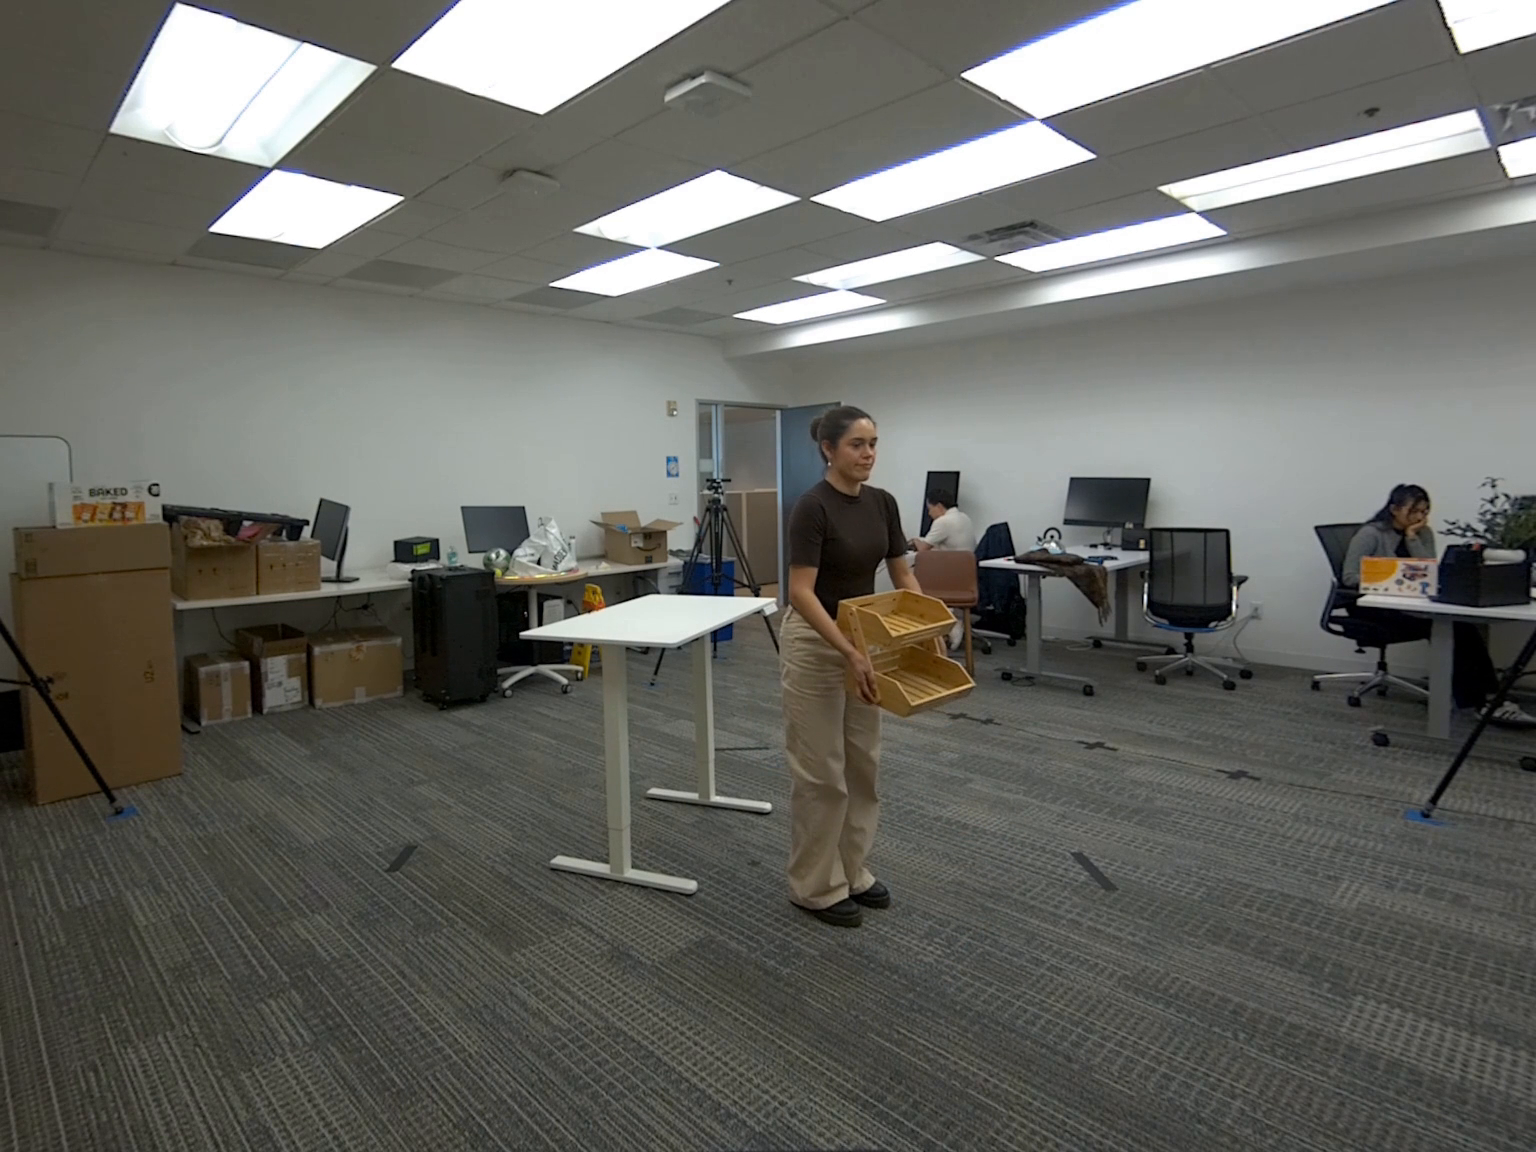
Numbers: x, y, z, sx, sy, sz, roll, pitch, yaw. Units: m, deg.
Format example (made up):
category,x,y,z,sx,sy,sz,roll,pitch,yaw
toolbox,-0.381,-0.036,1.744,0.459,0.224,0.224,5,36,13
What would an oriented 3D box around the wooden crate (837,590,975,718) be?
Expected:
category,x,y,z,sx,sy,sz,roll,pitch,yaw
wooden crate,0.409,0.216,2.523,0.316,0.270,0.313,-9,17,-43
